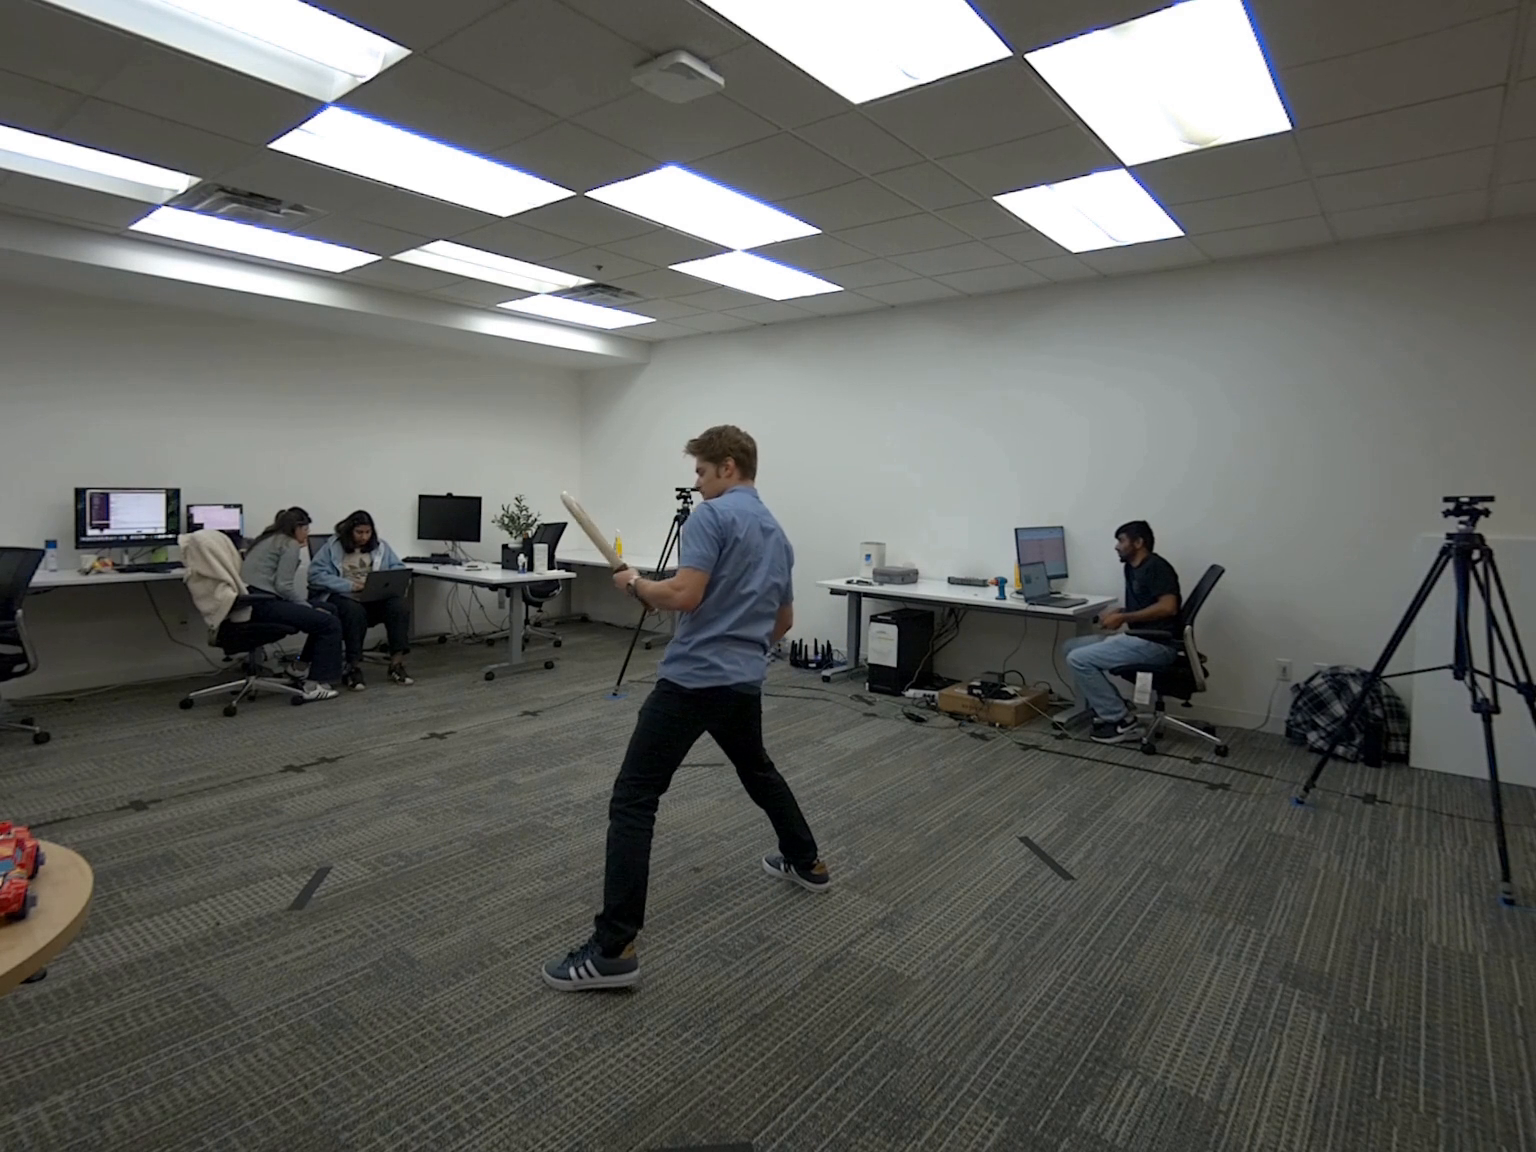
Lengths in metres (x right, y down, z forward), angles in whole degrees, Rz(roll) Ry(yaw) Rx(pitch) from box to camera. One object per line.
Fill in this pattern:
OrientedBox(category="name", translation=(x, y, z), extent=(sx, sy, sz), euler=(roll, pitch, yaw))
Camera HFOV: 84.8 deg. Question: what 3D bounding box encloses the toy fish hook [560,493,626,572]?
OrientedBox(category="toy fish hook", translation=(-0.540, -0.077, 2.840), extent=(0.048, 0.504, 0.226), euler=(-36, 4, -4))
